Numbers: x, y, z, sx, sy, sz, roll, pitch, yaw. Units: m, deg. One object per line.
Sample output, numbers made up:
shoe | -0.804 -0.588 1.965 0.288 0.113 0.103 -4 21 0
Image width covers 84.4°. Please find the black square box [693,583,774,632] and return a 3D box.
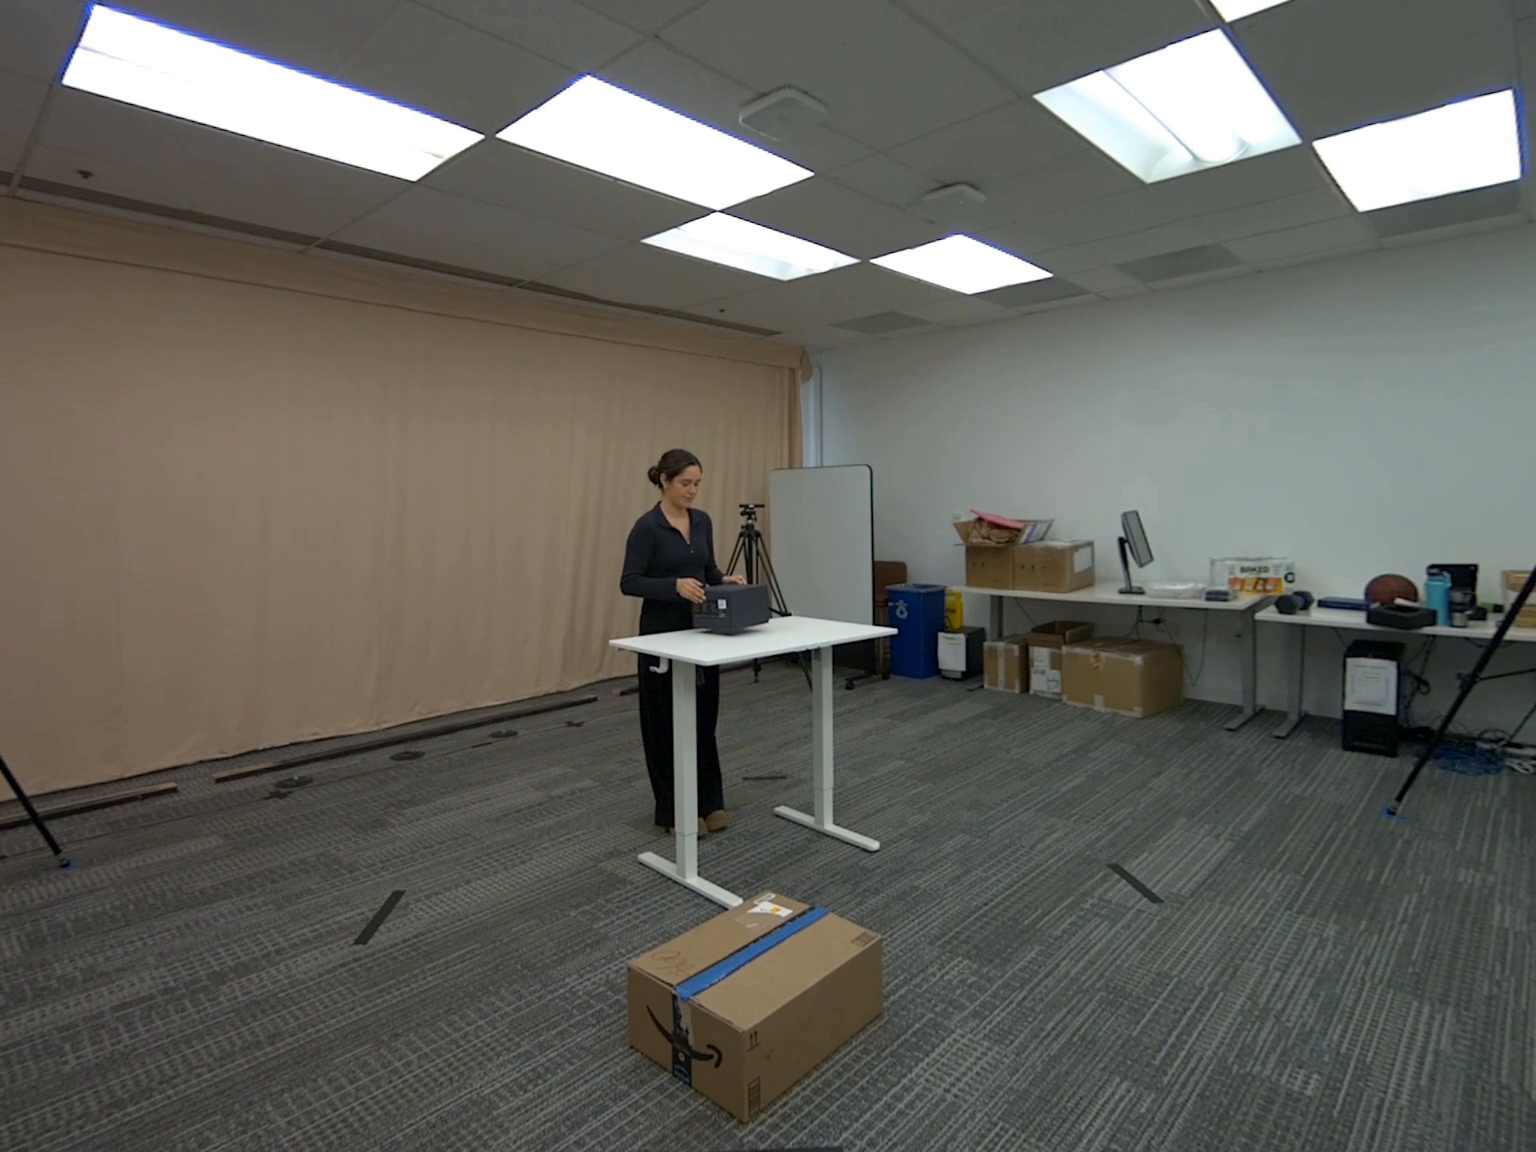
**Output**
black square box | -0.144 0.121 3.398 0.224 0.155 0.221 -2 5 44
